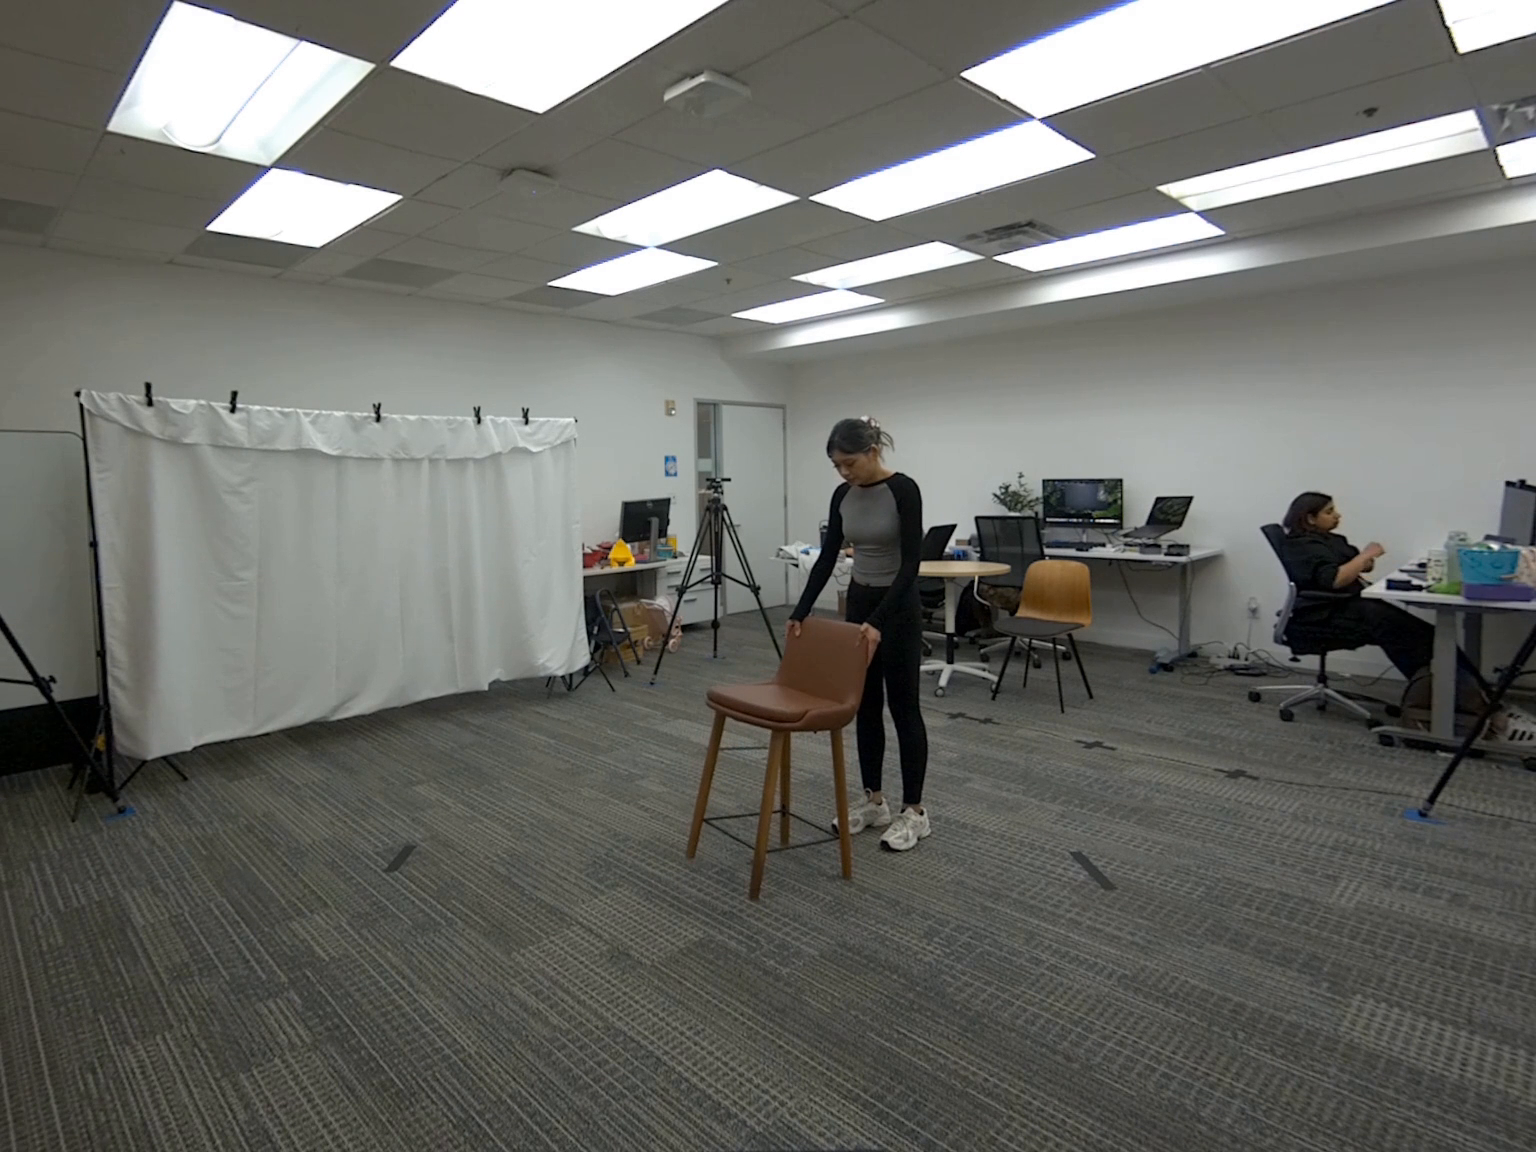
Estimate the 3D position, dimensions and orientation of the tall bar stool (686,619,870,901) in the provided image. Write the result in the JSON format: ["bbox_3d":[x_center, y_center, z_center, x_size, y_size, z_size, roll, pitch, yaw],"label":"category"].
[{"bbox_3d":[0.054,0.594,3.004,0.453,0.891,0.470,7,-2,-36],"label":"tall bar stool"}]
